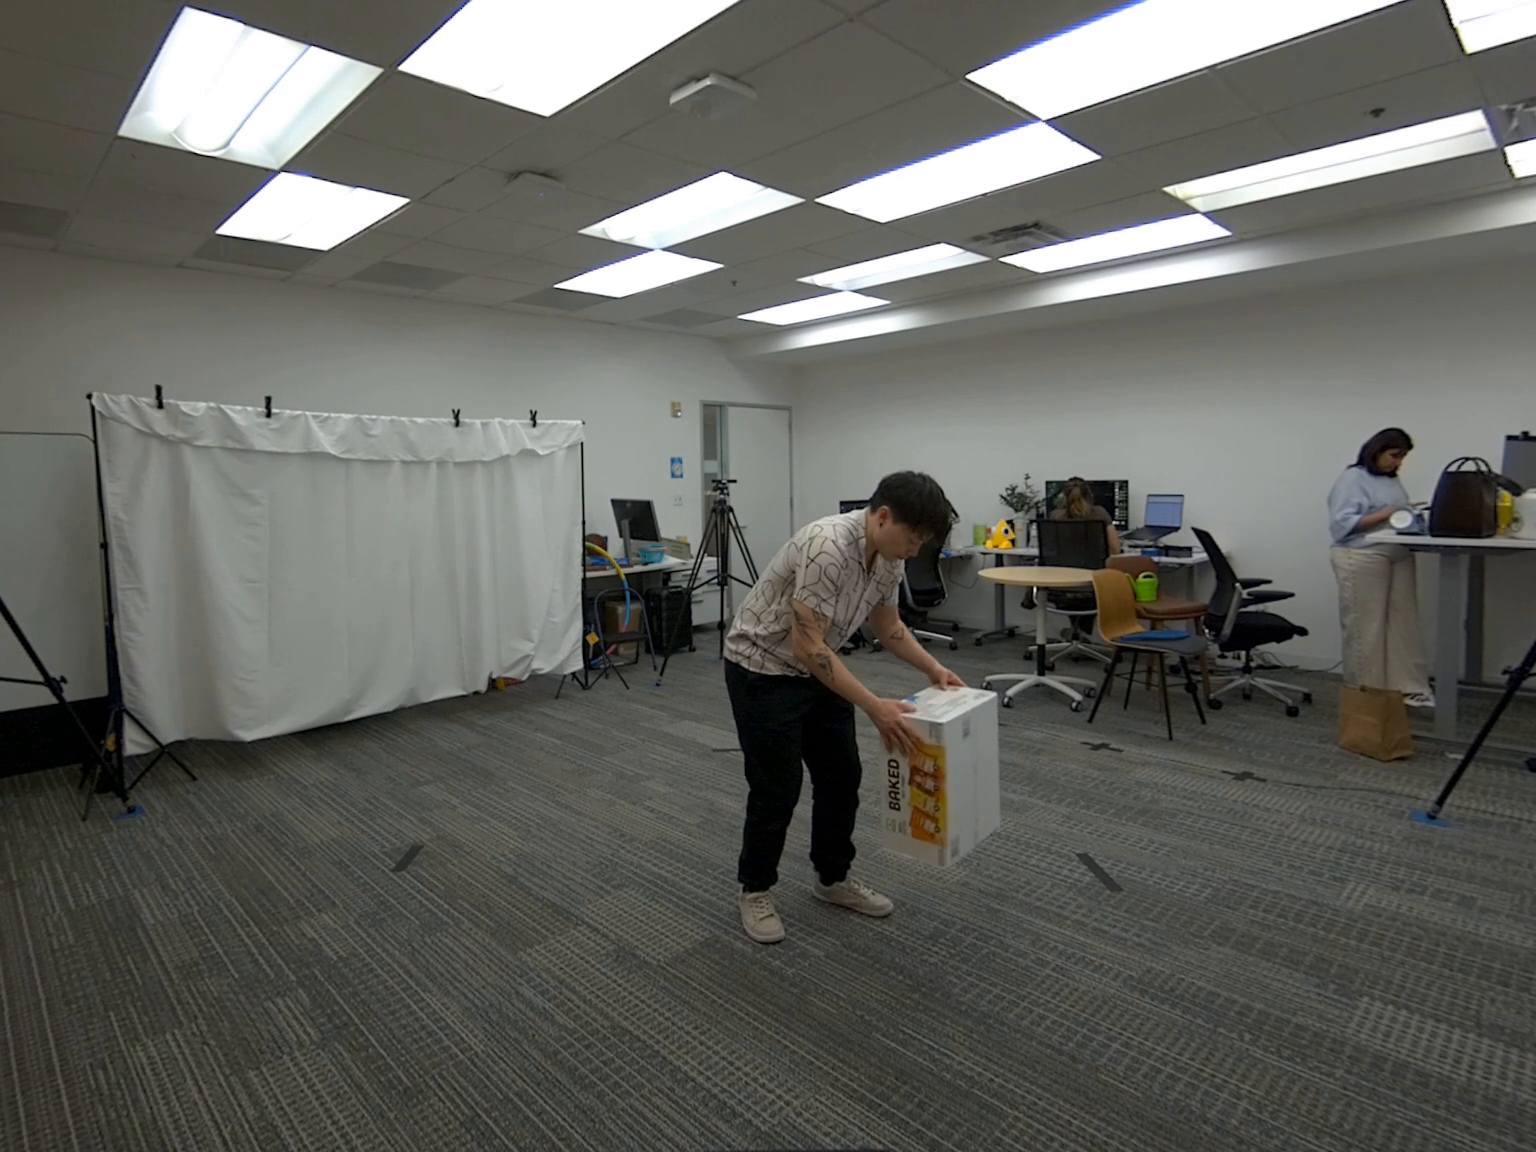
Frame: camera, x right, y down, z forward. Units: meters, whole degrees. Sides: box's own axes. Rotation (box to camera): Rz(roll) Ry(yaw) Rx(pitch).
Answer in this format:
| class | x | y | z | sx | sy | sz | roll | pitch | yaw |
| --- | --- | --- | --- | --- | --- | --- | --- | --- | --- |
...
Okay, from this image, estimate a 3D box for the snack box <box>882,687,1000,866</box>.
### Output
| class | x | y | z | sx | sy | sz | roll | pitch | yaw |
| --- | --- | --- | --- | --- | --- | --- | --- | --- | --- |
| snack box | 0.500 | 0.562 | 2.463 | 0.212 | 0.403 | 0.332 | 1 | 8 | 40 |
